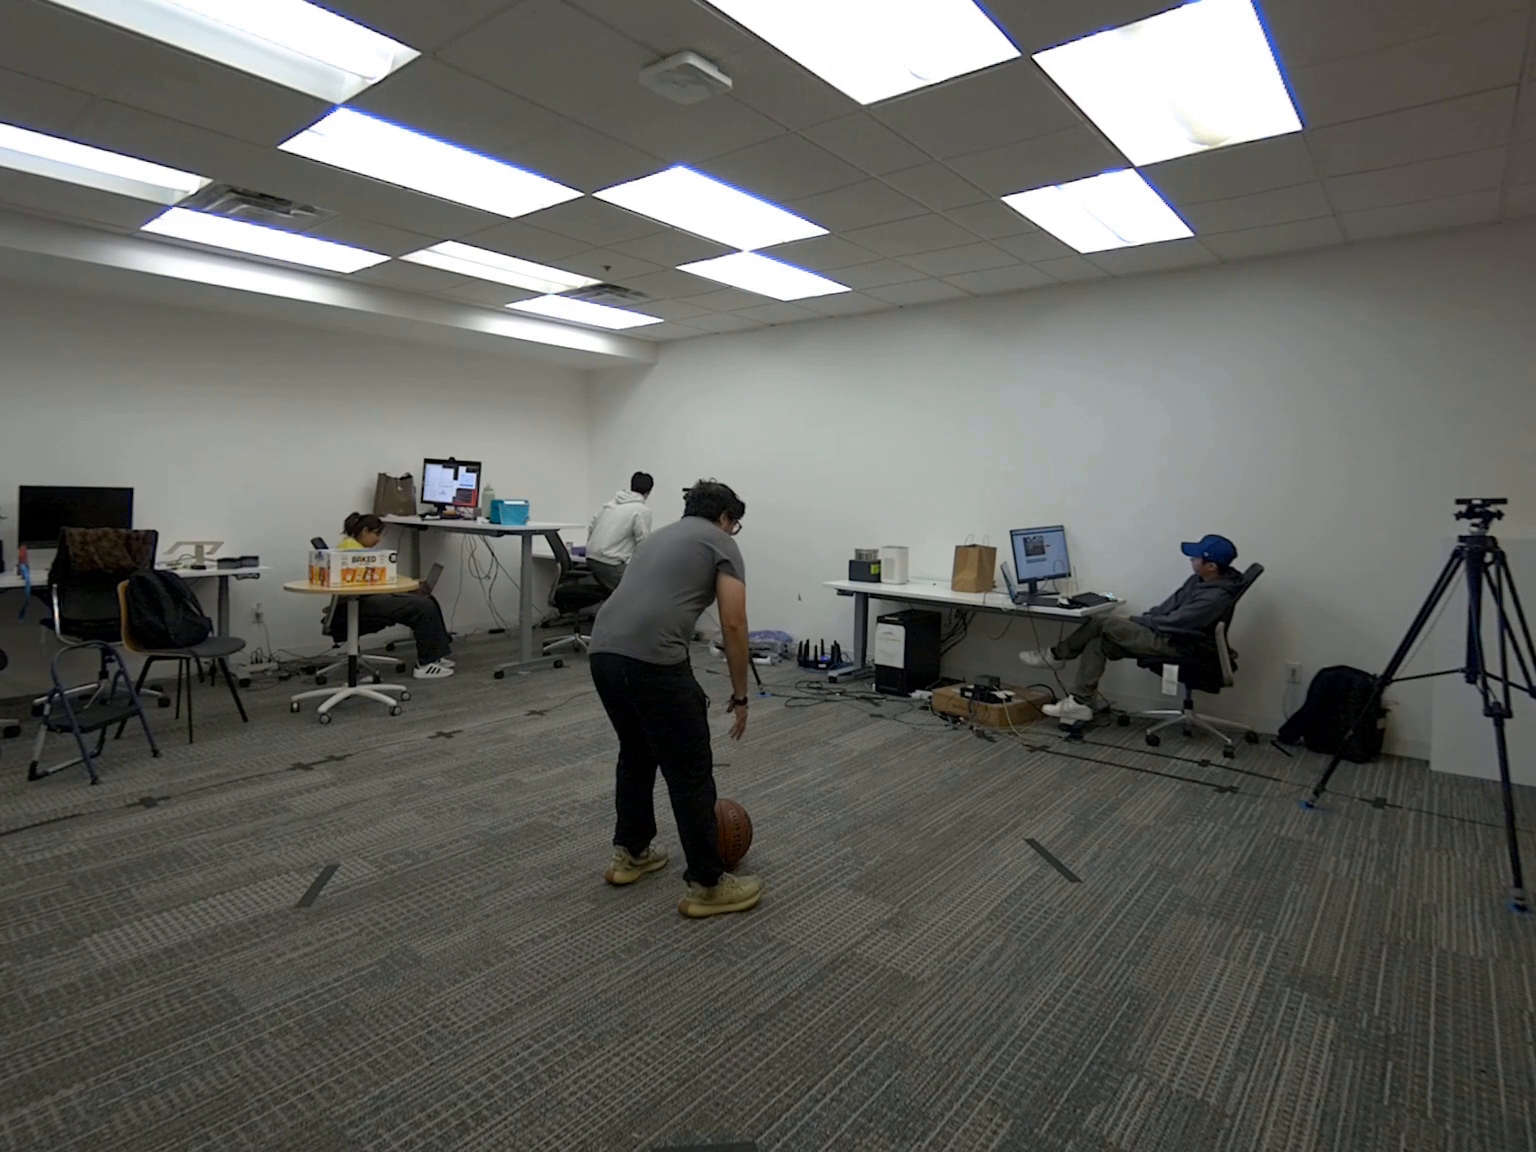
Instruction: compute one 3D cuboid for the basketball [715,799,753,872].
[{"bbox_3d":[-0.185,0.943,3.151,0.235,0.235,0.237,1,4,-2],"label":"basketball"}]
